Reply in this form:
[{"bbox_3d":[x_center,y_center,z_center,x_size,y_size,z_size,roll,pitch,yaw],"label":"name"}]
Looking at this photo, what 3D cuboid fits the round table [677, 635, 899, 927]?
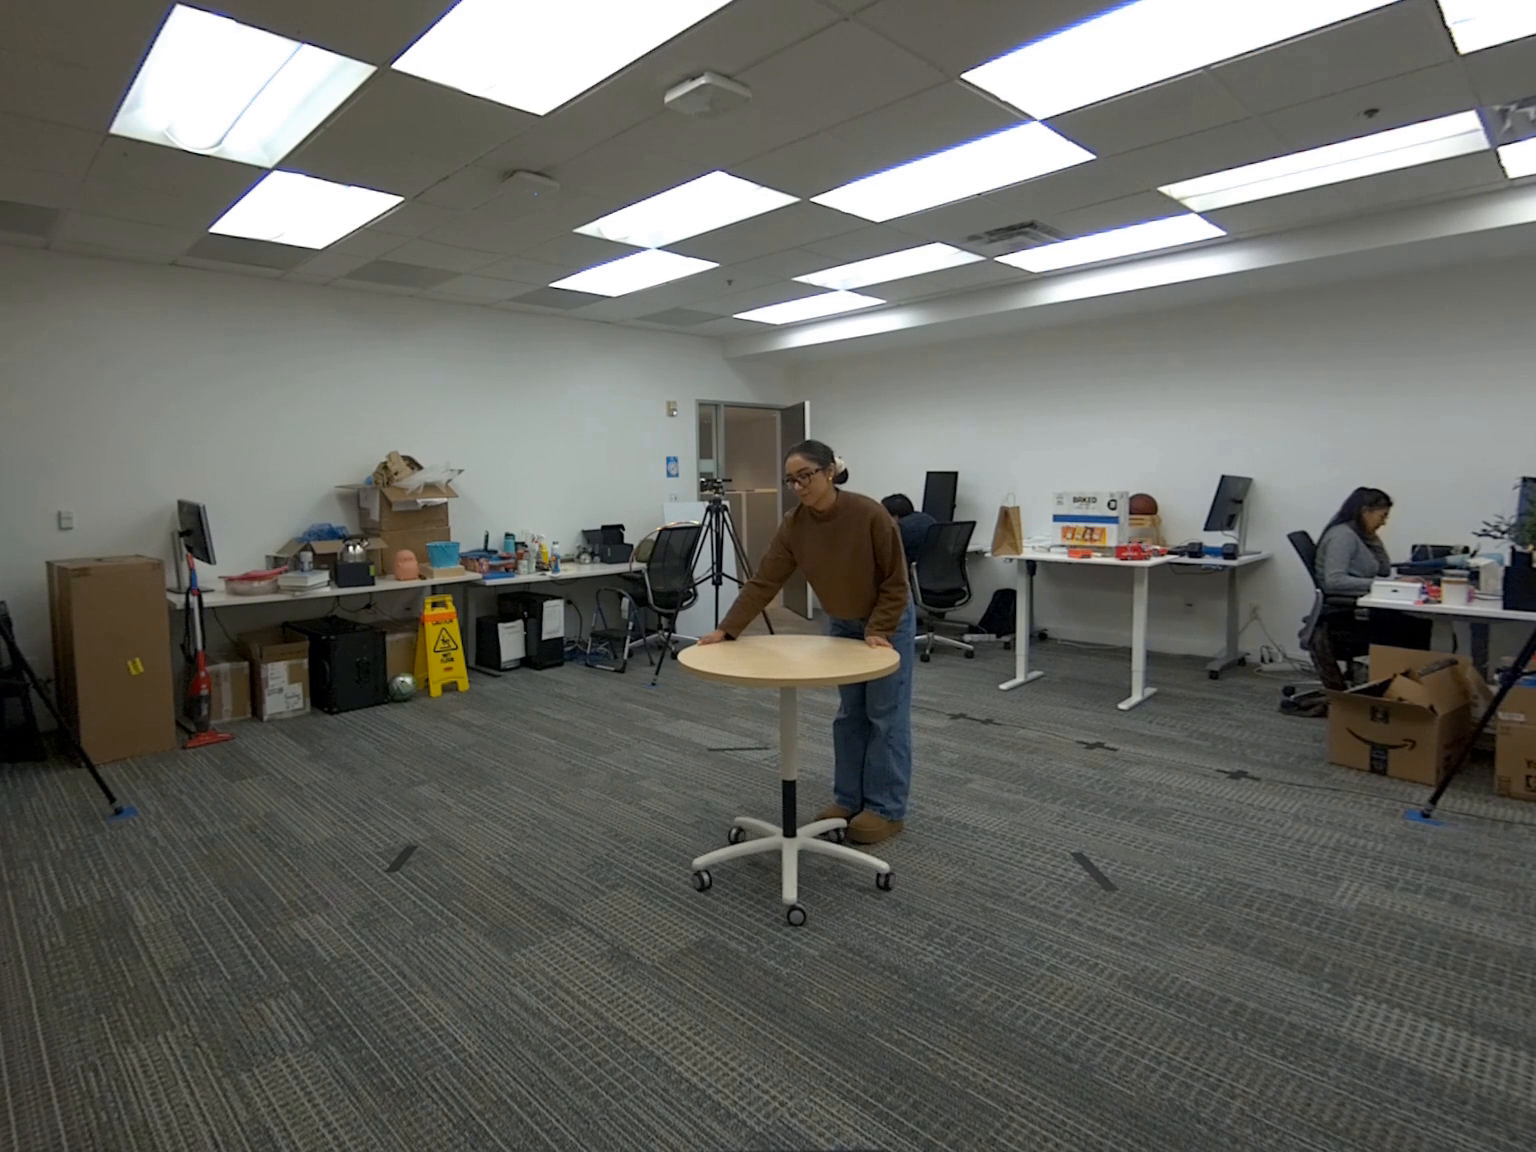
[{"bbox_3d":[0.074,0.668,2.983,0.763,0.791,0.768,-1,5,-2],"label":"round table"}]
